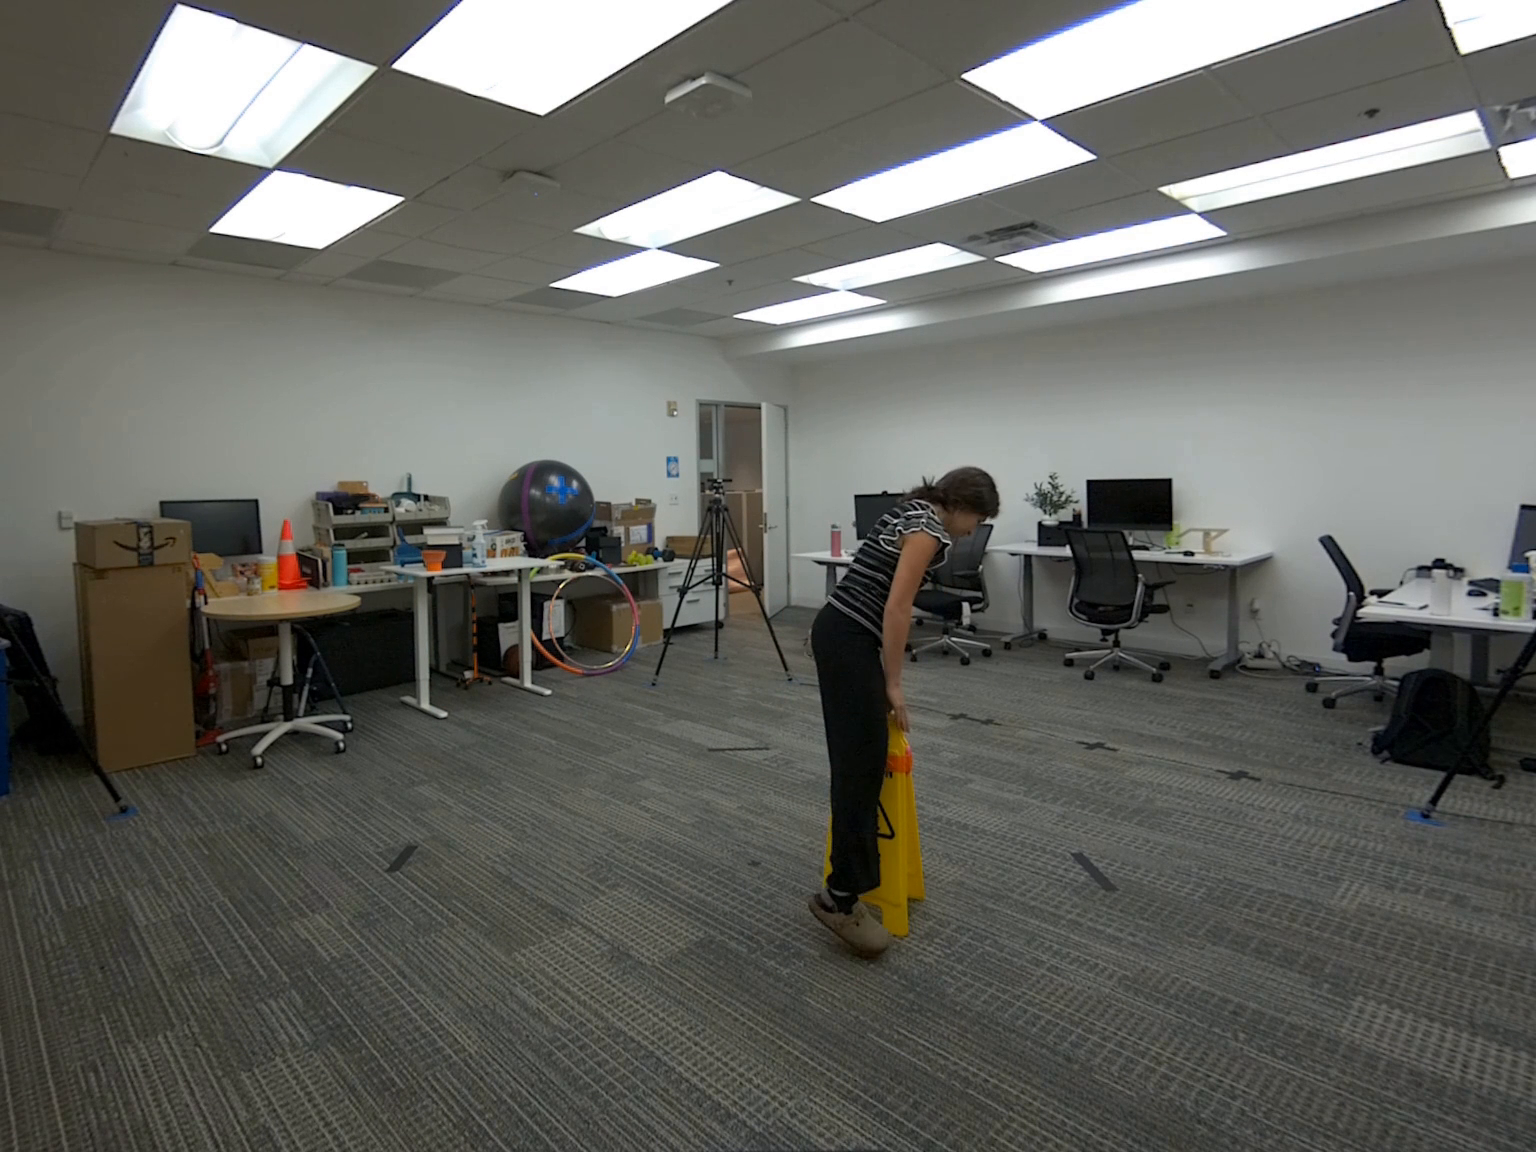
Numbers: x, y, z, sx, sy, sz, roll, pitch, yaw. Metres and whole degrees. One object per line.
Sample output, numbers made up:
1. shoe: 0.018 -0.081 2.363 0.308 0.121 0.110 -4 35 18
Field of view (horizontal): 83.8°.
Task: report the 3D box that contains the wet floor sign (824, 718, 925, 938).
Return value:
1. wet floor sign: 0.337 0.759 2.739 0.288 0.643 0.285 -1 5 21
